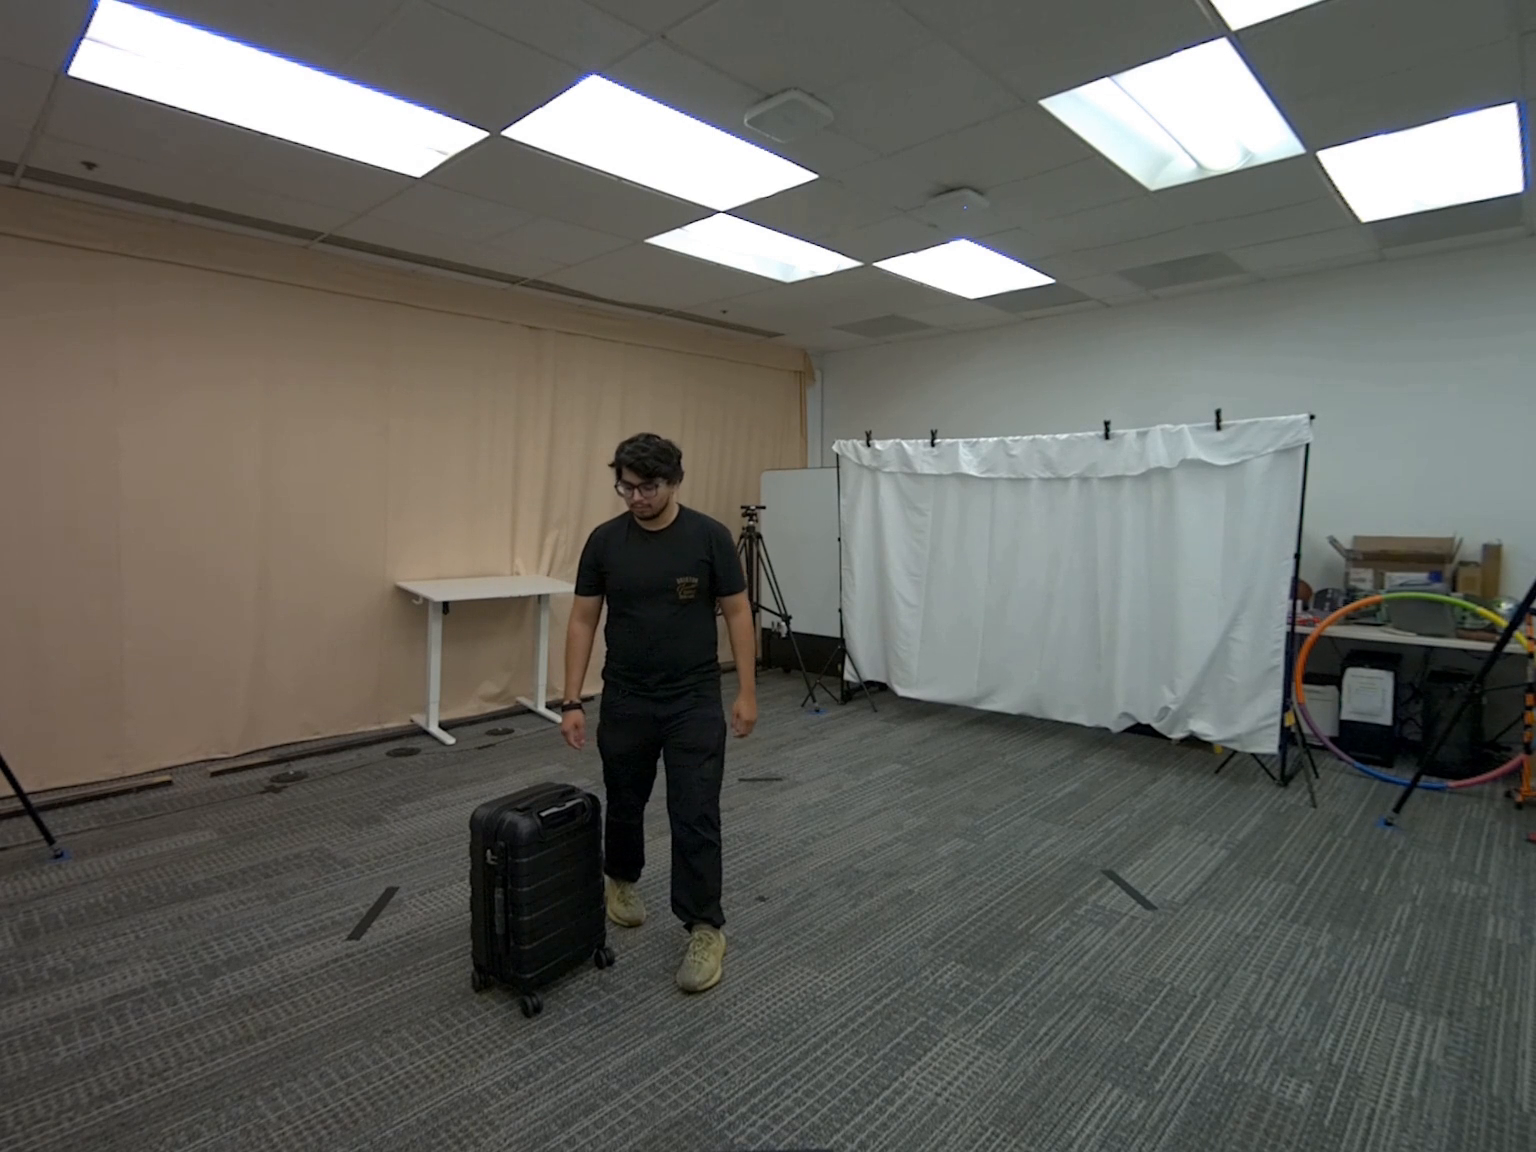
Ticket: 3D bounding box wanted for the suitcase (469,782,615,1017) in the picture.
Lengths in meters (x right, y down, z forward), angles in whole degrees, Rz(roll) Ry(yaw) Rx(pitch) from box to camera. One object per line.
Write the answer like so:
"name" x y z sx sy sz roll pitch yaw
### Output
"suitcase" -0.686 0.919 2.488 0.255 0.549 0.365 -1 1 32
